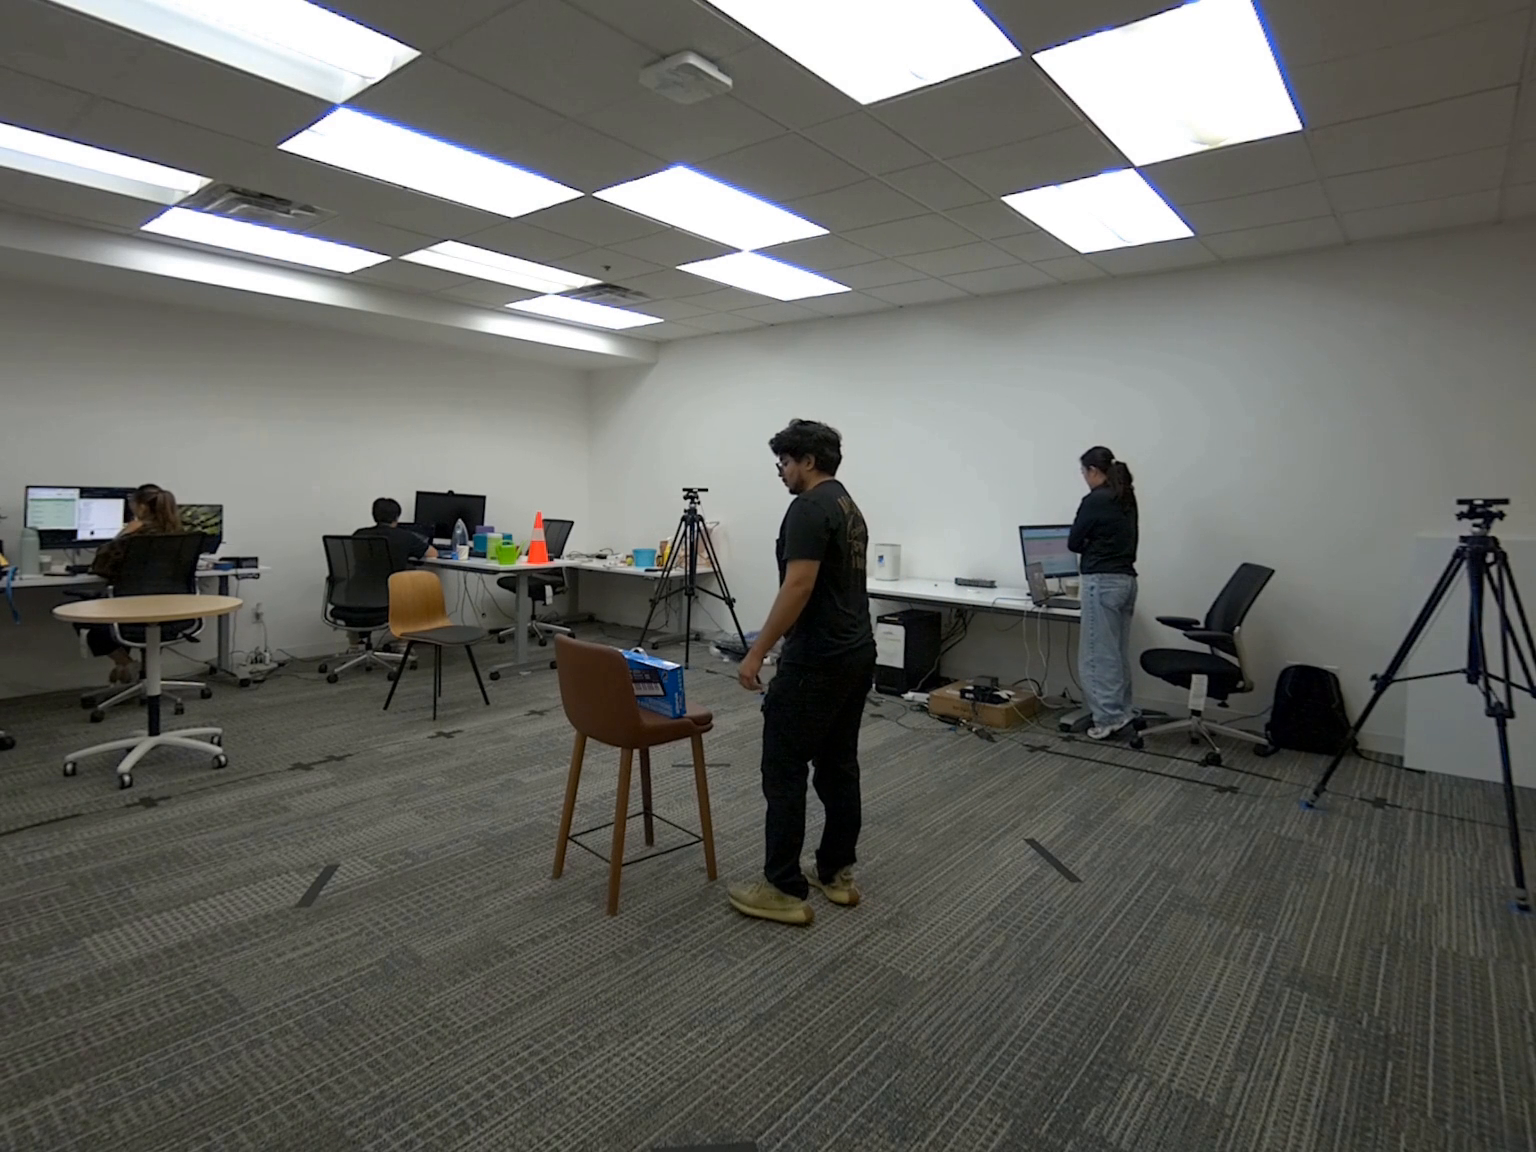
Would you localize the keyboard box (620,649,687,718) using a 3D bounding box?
[{"bbox_3d":[-0.466,0.370,3.041,0.057,0.174,0.452,-11,12,-41],"label":"keyboard box"}]
